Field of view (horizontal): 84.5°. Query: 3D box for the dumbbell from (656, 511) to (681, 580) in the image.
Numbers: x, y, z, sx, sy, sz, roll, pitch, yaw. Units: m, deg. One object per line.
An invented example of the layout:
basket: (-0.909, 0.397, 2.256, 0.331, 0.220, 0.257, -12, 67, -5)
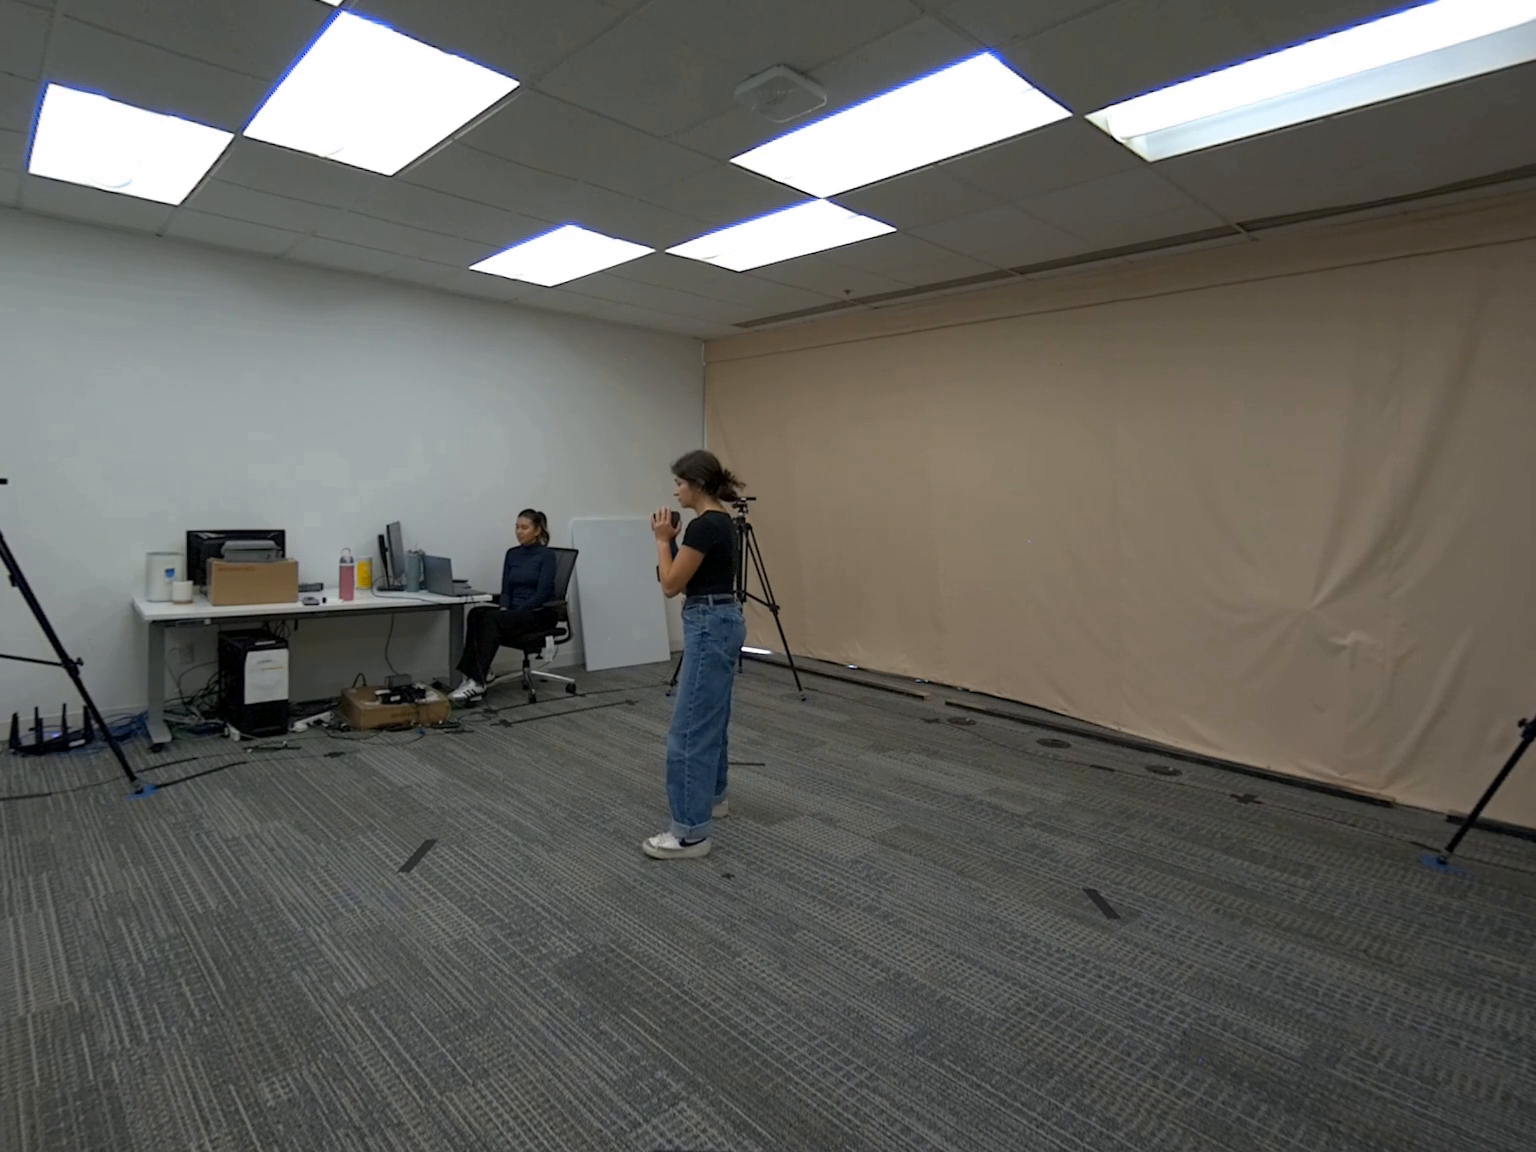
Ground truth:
dumbbell: (-0.405, -0.113, 3.503, 0.121, 0.293, 0.110, -9, 1, -26)
